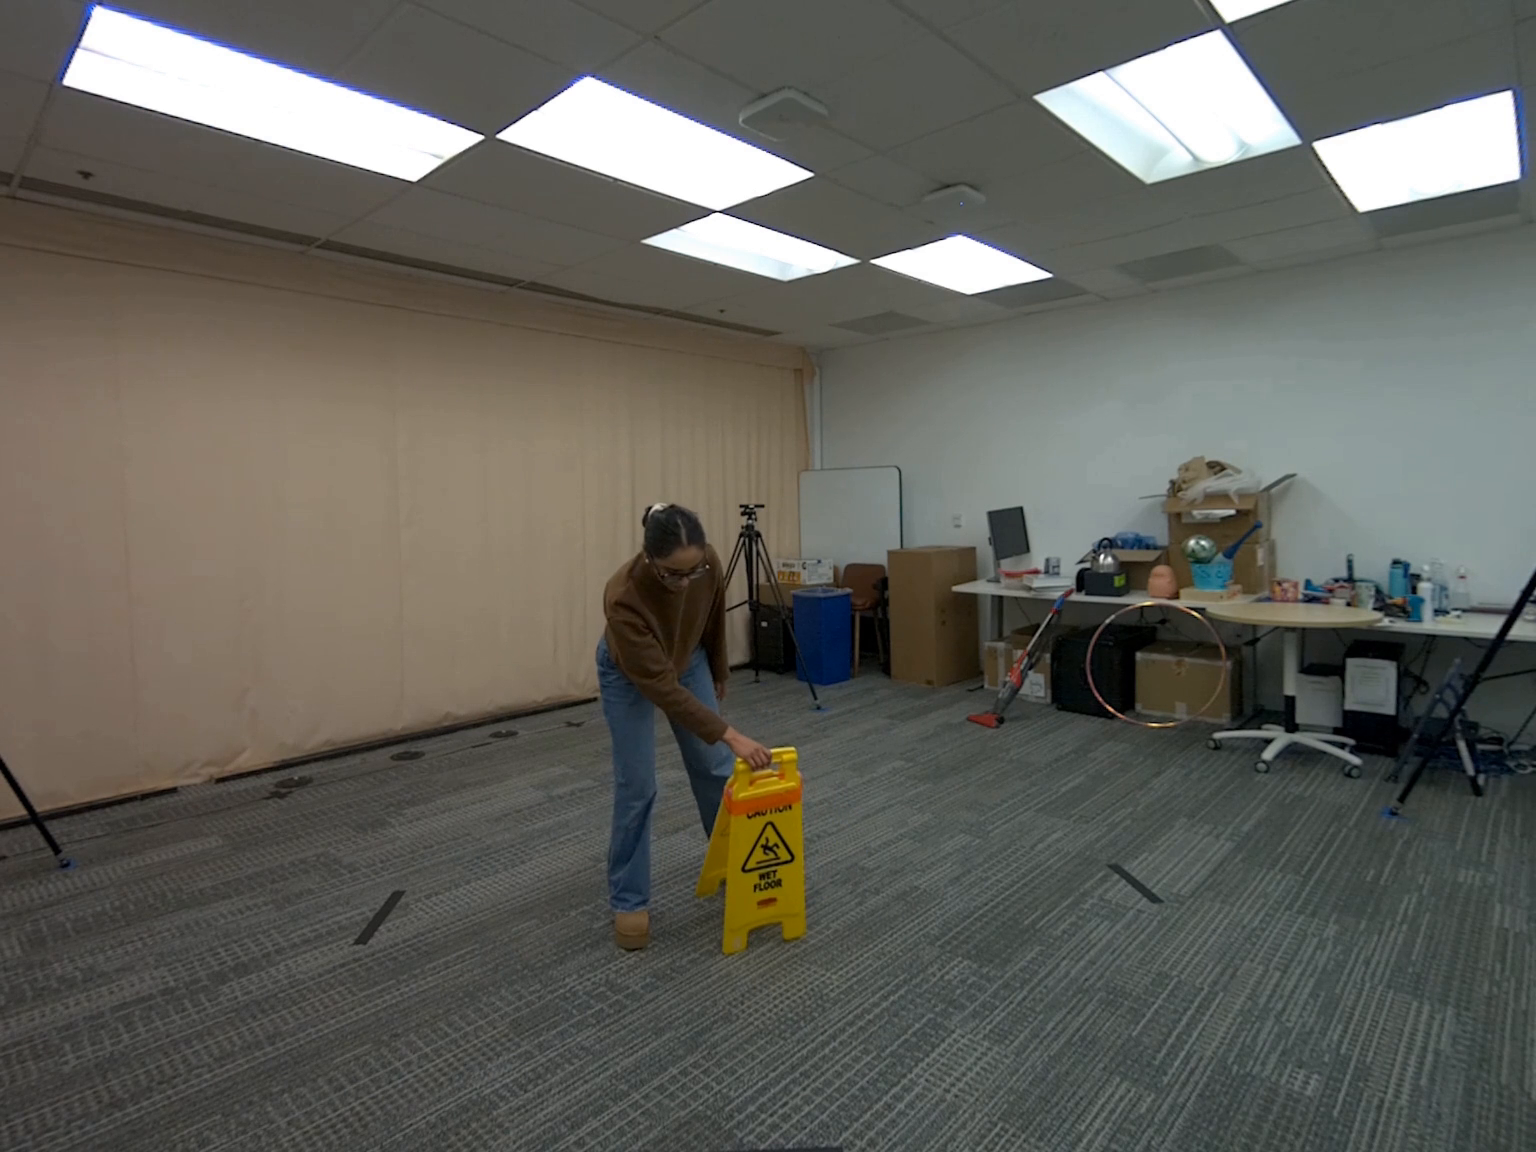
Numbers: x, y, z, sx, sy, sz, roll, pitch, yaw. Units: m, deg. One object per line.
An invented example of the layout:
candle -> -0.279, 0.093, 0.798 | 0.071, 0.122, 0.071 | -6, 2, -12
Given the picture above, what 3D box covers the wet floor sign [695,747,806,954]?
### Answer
wet floor sign -> -0.031, 0.822, 2.629 | 0.276, 0.639, 0.299 | -4, 26, -23
